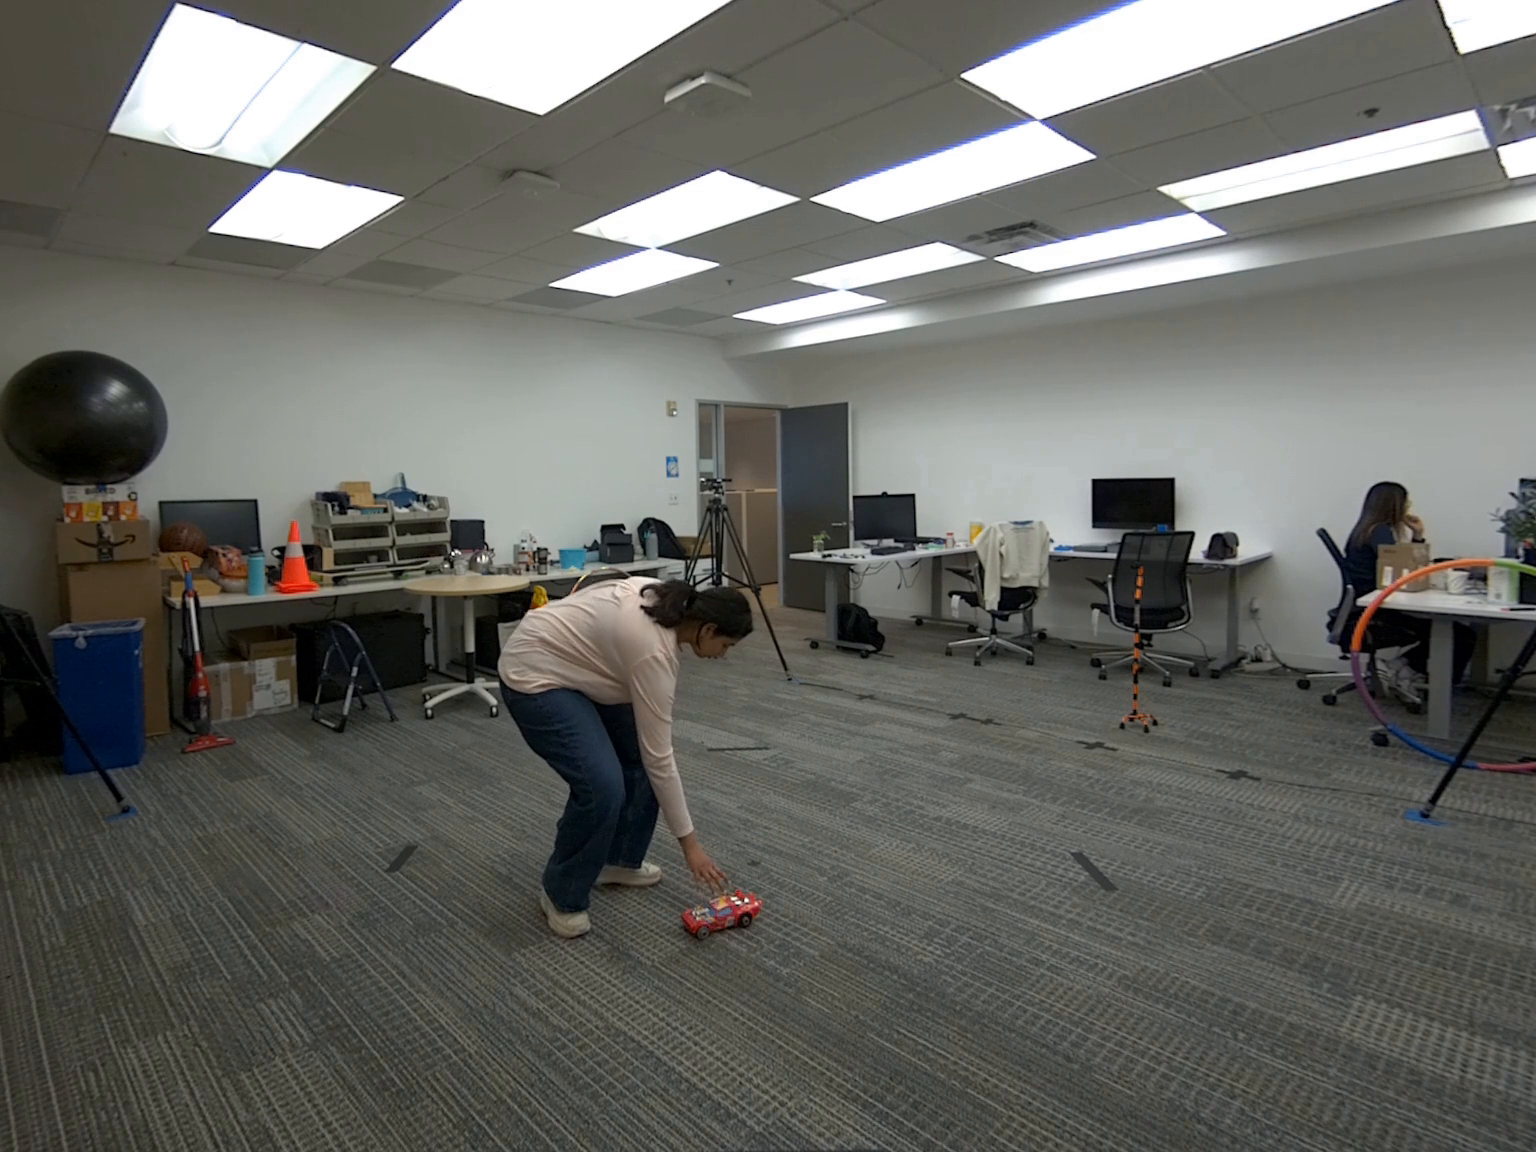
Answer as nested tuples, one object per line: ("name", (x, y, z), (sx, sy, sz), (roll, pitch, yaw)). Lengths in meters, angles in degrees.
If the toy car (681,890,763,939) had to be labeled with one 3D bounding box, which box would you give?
("toy car", (-0.135, 1.065, 2.679), (0.251, 0.082, 0.134), (-19, 13, -26))
